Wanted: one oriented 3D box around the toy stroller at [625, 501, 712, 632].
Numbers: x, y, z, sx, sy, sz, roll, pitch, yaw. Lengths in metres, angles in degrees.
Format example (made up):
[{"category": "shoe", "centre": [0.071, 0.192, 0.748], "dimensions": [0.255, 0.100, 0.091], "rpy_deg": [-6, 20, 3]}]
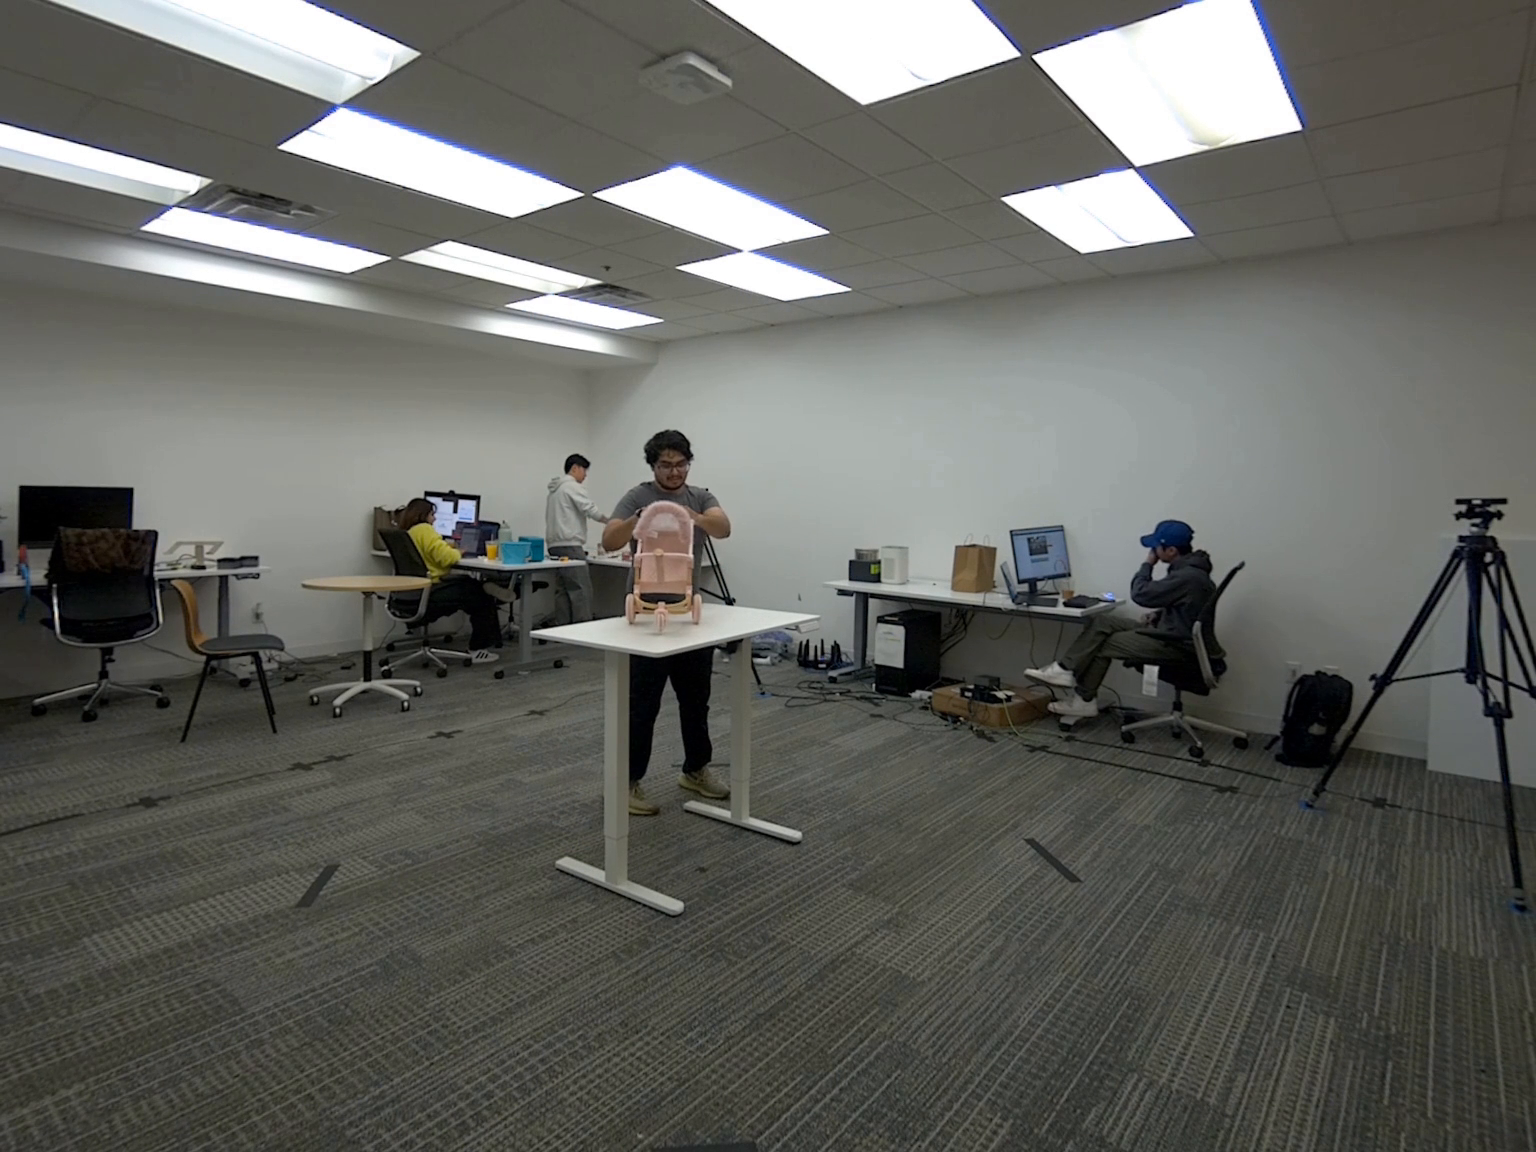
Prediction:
[{"category": "toy stroller", "centre": [-0.393, -0.042, 3.136], "dimensions": [0.282, 0.543, 0.336], "rpy_deg": [-1, -16, 0]}]
